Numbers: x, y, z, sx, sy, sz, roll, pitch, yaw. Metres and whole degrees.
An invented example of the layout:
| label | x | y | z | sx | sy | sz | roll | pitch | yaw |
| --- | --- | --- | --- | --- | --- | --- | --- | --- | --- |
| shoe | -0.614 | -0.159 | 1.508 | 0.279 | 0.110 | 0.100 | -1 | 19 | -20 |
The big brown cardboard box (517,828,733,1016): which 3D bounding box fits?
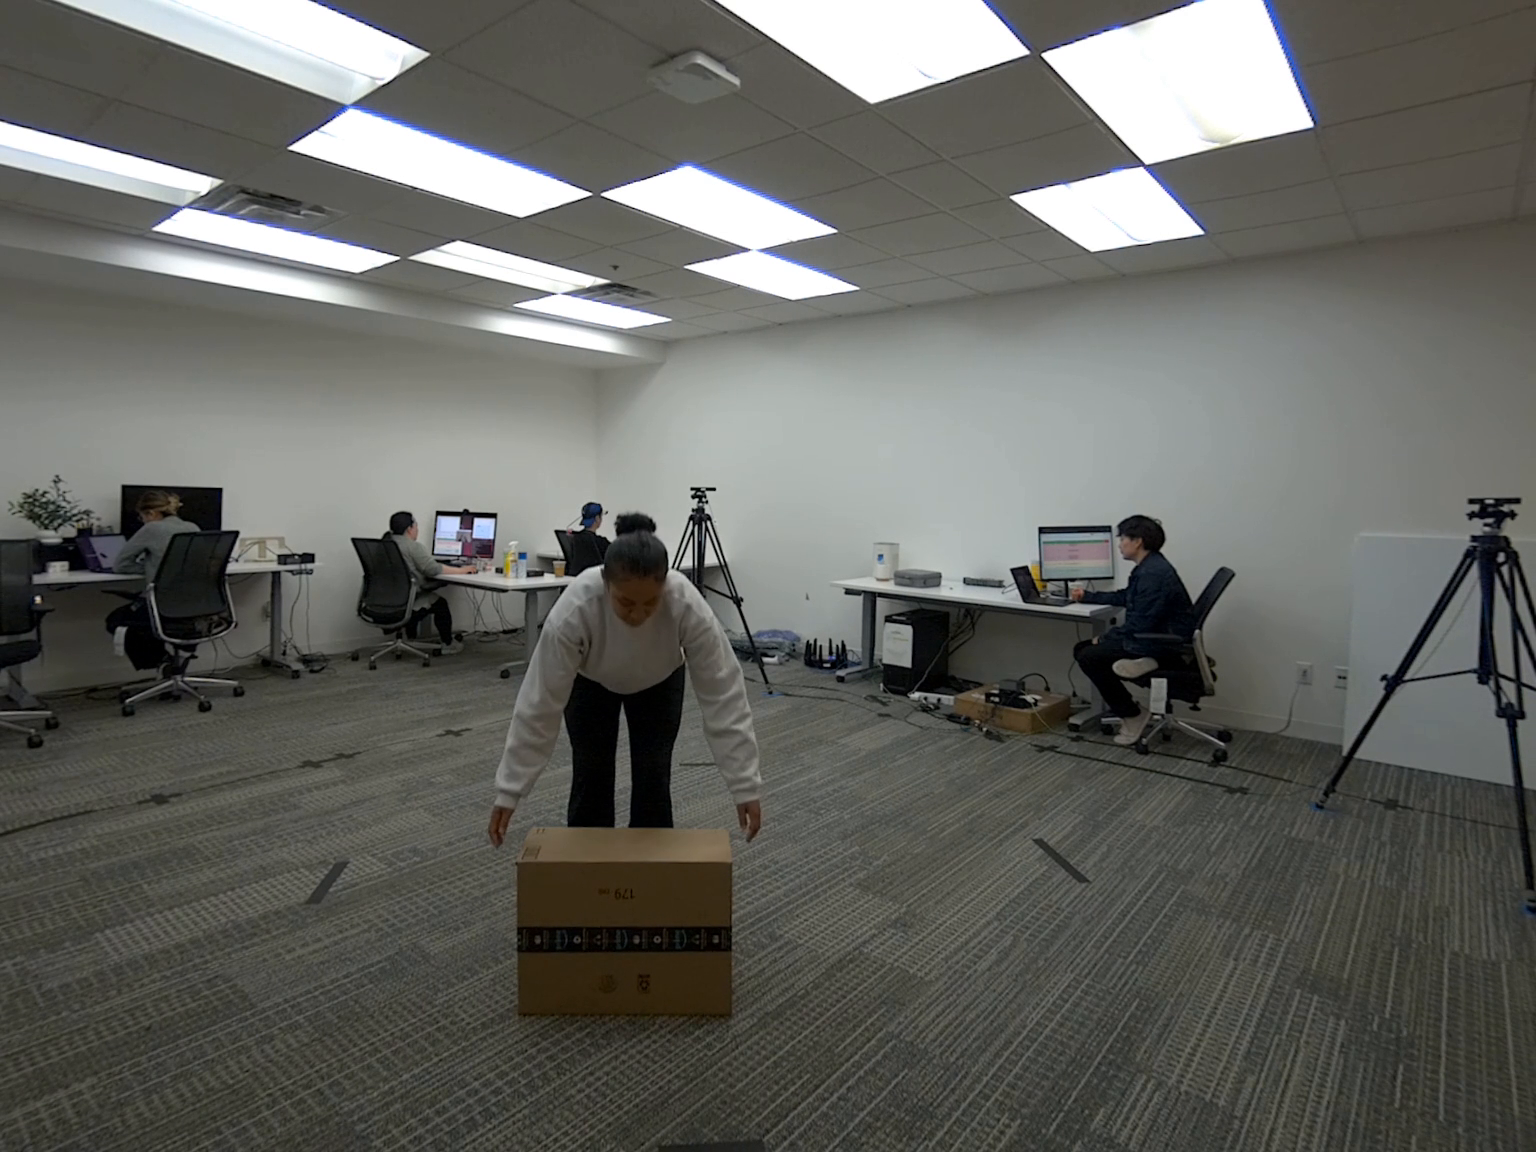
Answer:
| label | x | y | z | sx | sy | sz | roll | pitch | yaw |
| --- | --- | --- | --- | --- | --- | --- | --- | --- | --- |
| big brown cardboard box | -0.394 | 0.933 | 2.321 | 0.589 | 0.416 | 0.234 | 2 | 5 | 0 |
